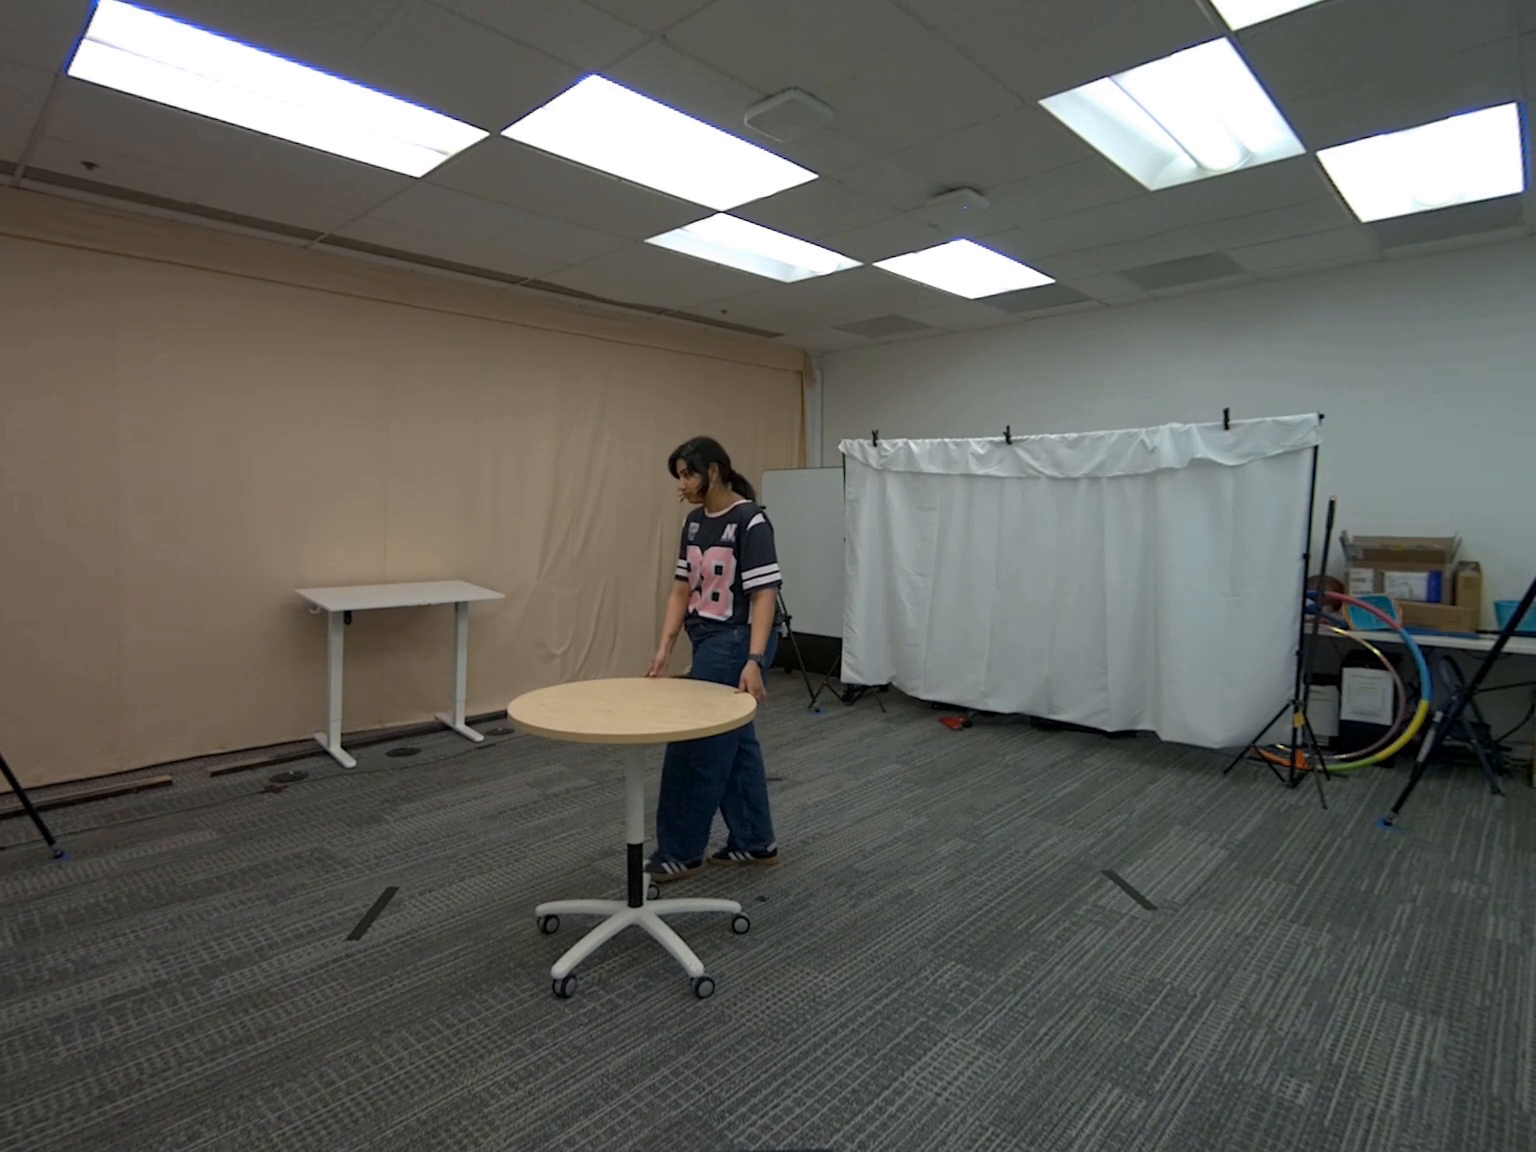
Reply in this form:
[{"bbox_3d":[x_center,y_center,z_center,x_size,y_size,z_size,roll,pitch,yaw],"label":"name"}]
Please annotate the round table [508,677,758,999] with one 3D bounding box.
[{"bbox_3d":[-0.425,0.781,2.628,0.784,0.785,0.787,0,3,-2],"label":"round table"}]
